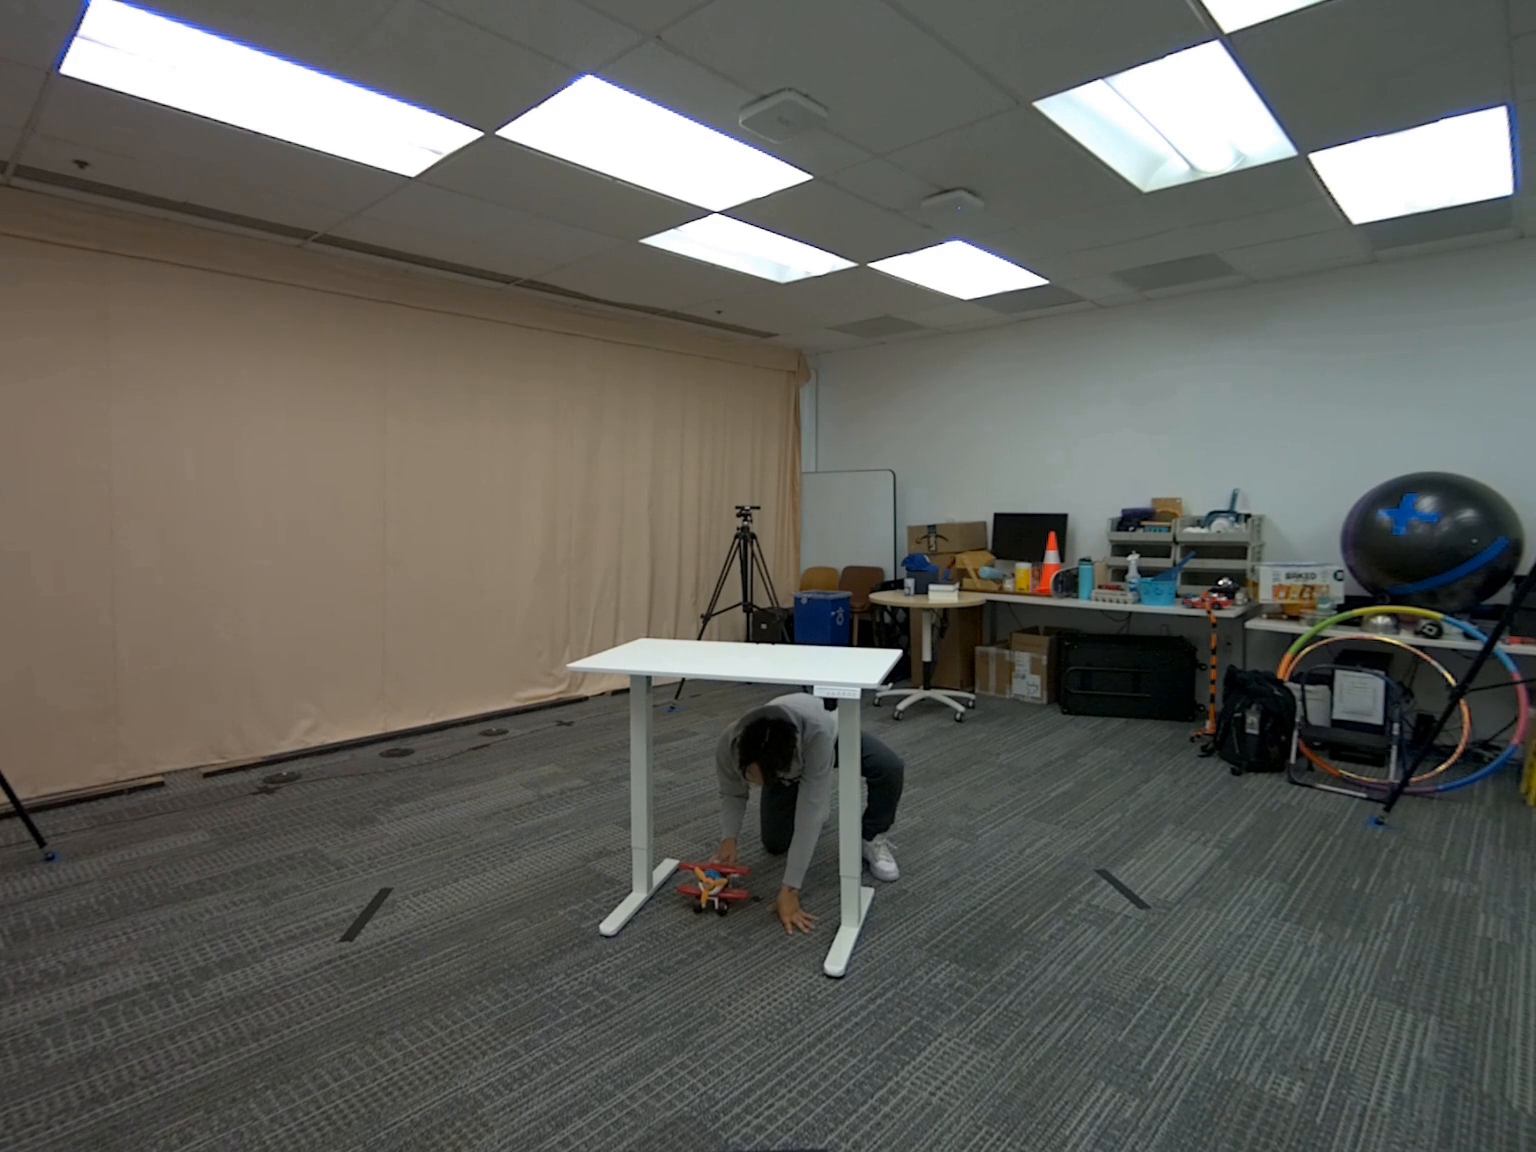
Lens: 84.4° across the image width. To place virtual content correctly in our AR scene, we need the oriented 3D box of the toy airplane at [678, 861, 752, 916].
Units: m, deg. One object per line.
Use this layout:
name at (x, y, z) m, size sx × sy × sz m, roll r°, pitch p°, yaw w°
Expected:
toy airplane at (-0.200, 1.076, 2.959) m, size 0.247 × 0.156 × 0.264 m, roll -1°, pitch 6°, yaw -17°
